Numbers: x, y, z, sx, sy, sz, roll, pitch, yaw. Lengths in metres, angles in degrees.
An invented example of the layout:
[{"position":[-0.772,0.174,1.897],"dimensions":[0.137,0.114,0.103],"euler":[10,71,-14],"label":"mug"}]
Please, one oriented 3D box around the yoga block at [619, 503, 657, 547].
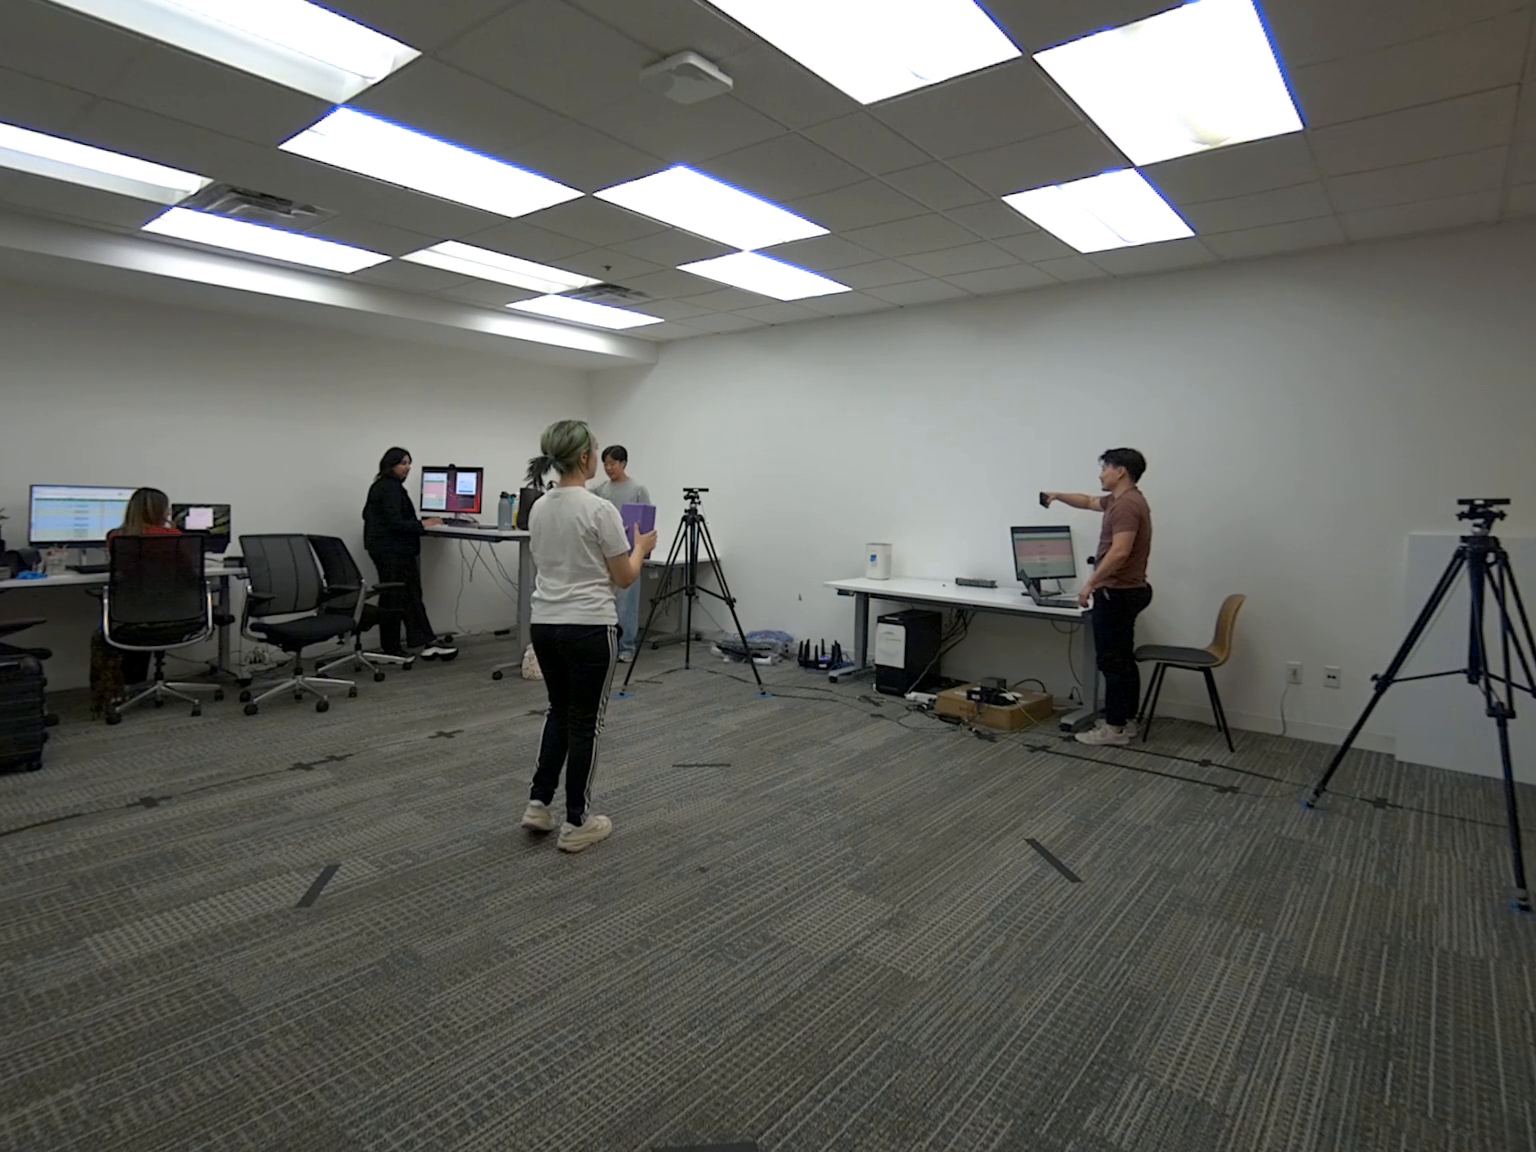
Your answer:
[{"position":[-0.576,-0.194,3.607],"dimensions":[0.154,0.230,0.074],"euler":[5,-4,37],"label":"yoga block"}]
